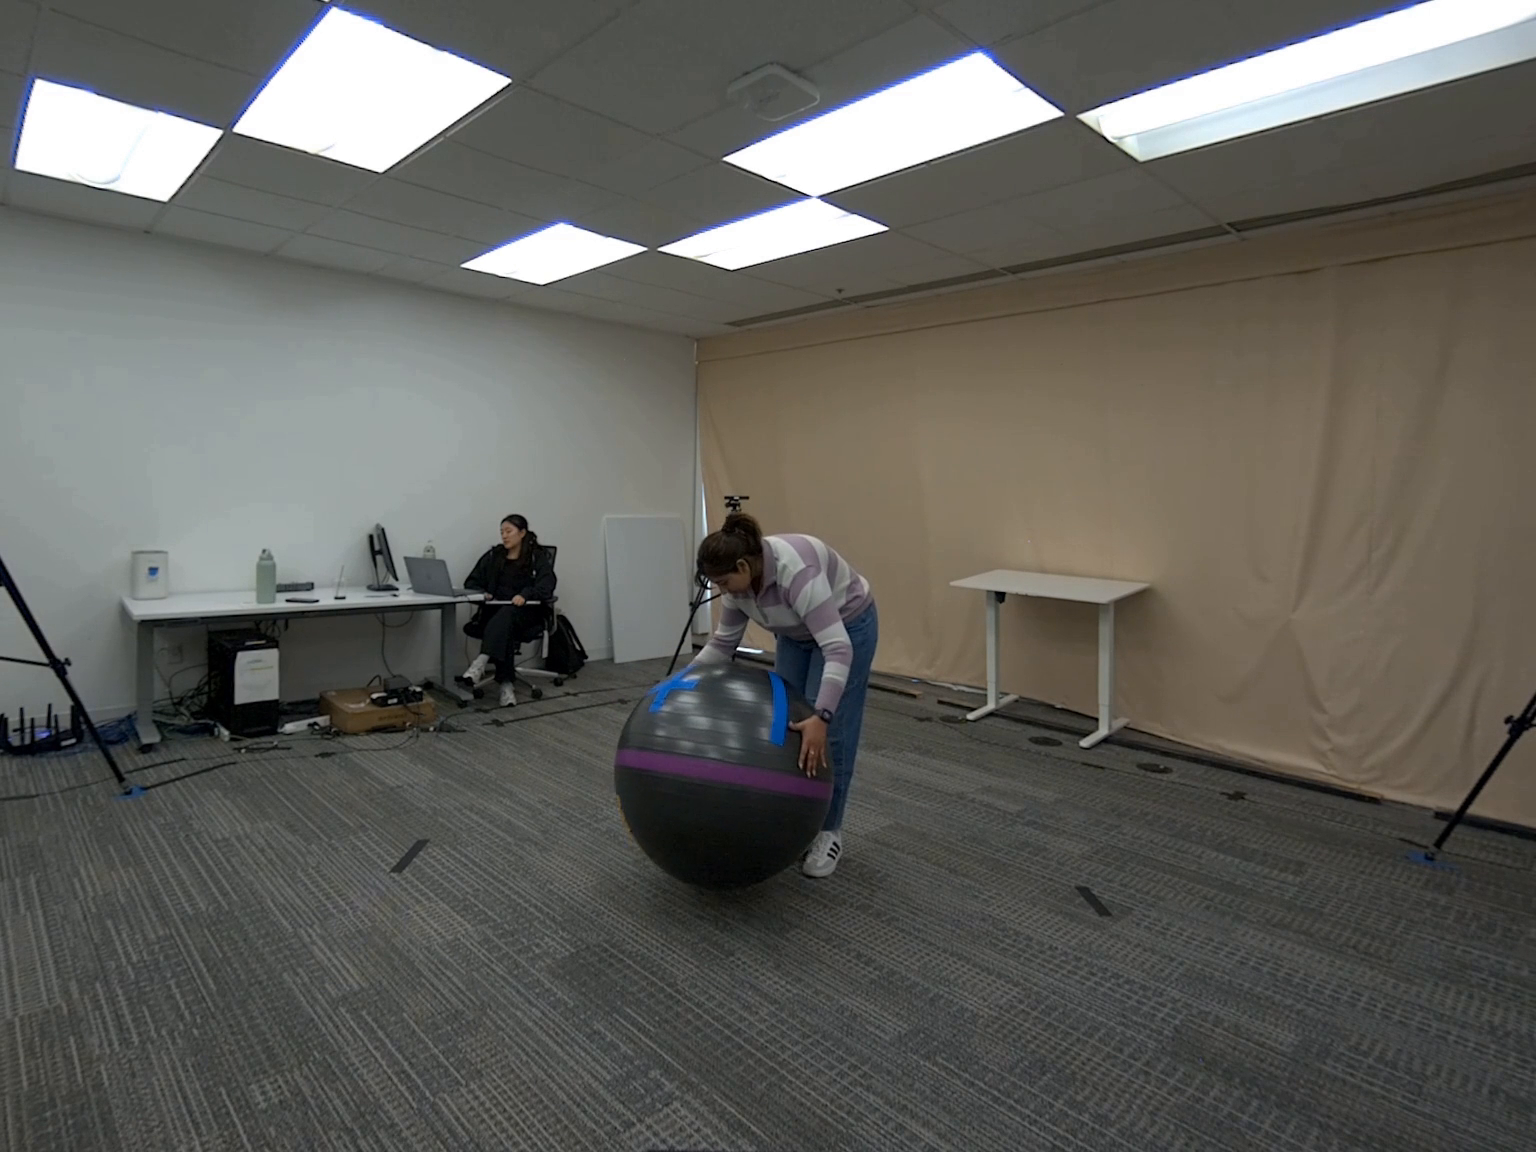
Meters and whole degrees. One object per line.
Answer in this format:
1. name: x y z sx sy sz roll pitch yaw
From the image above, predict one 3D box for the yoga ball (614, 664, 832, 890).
1. yoga ball: -0.174 0.688 2.926 0.757 0.756 0.761 1 4 -1
